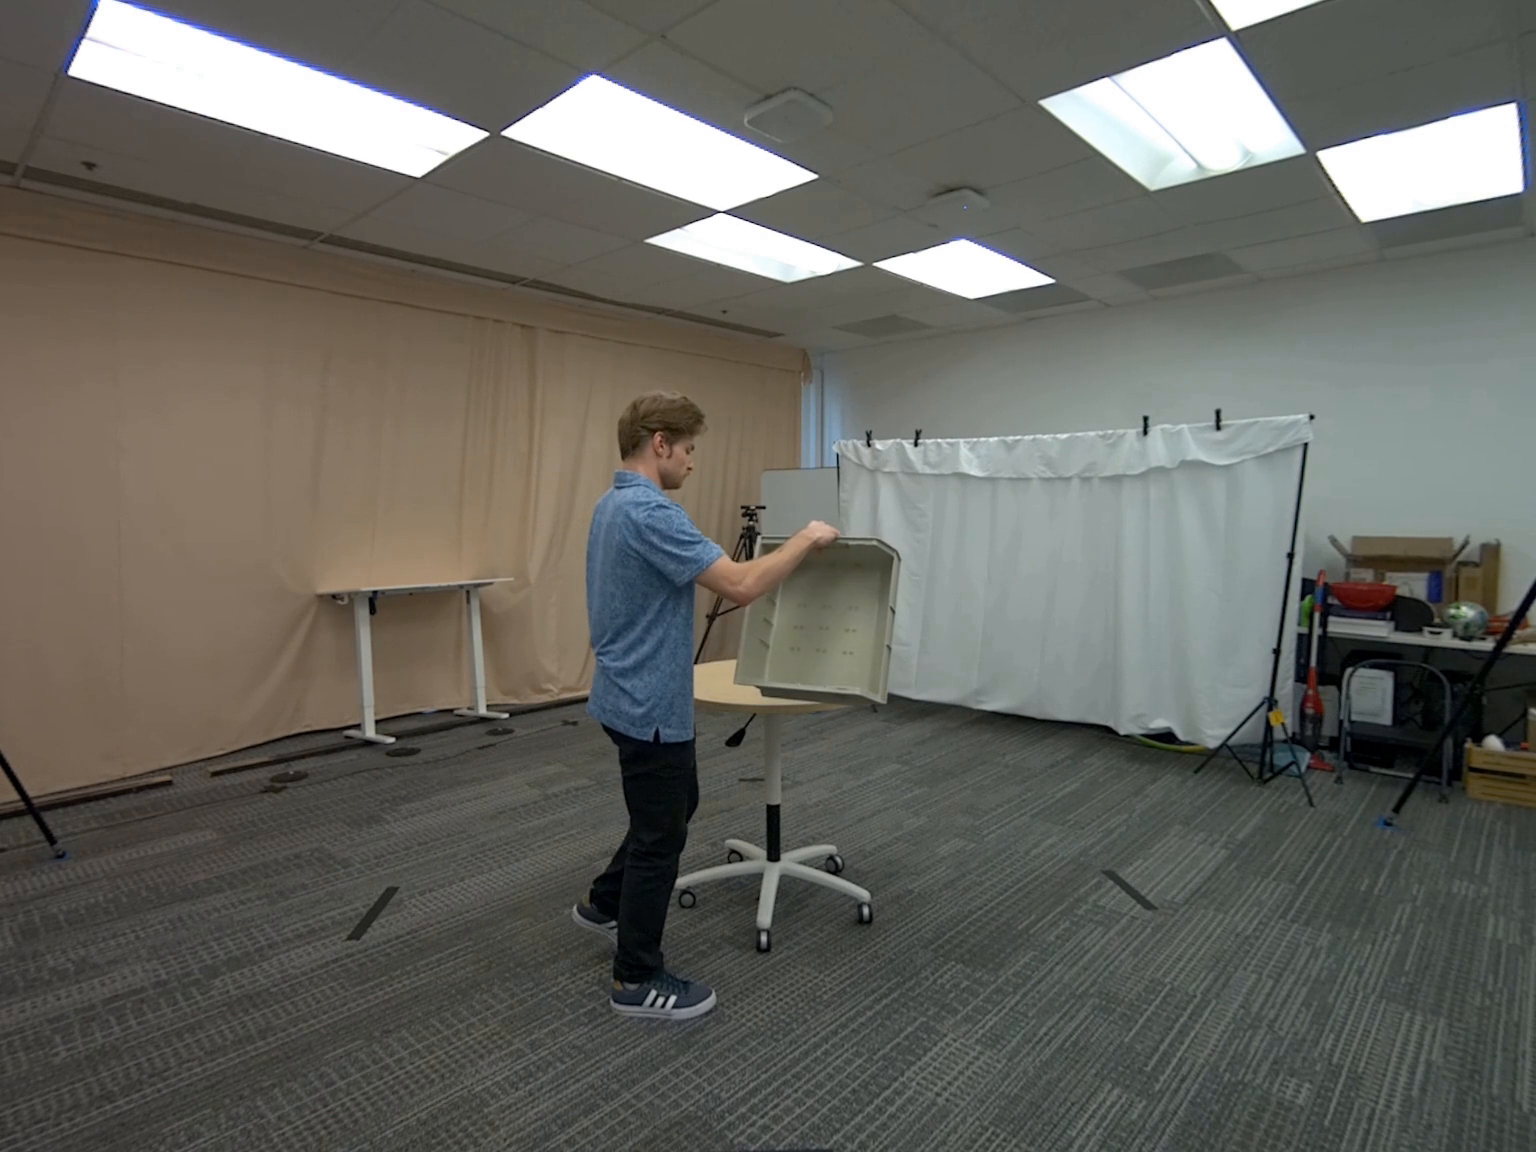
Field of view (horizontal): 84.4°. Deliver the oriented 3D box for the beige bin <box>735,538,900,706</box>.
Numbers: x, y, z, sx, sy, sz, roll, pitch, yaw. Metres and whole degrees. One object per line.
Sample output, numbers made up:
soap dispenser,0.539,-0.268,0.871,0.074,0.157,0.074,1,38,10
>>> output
beige bin,0.153,0.121,2.276,0.387,0.425,0.183,1,-20,25
